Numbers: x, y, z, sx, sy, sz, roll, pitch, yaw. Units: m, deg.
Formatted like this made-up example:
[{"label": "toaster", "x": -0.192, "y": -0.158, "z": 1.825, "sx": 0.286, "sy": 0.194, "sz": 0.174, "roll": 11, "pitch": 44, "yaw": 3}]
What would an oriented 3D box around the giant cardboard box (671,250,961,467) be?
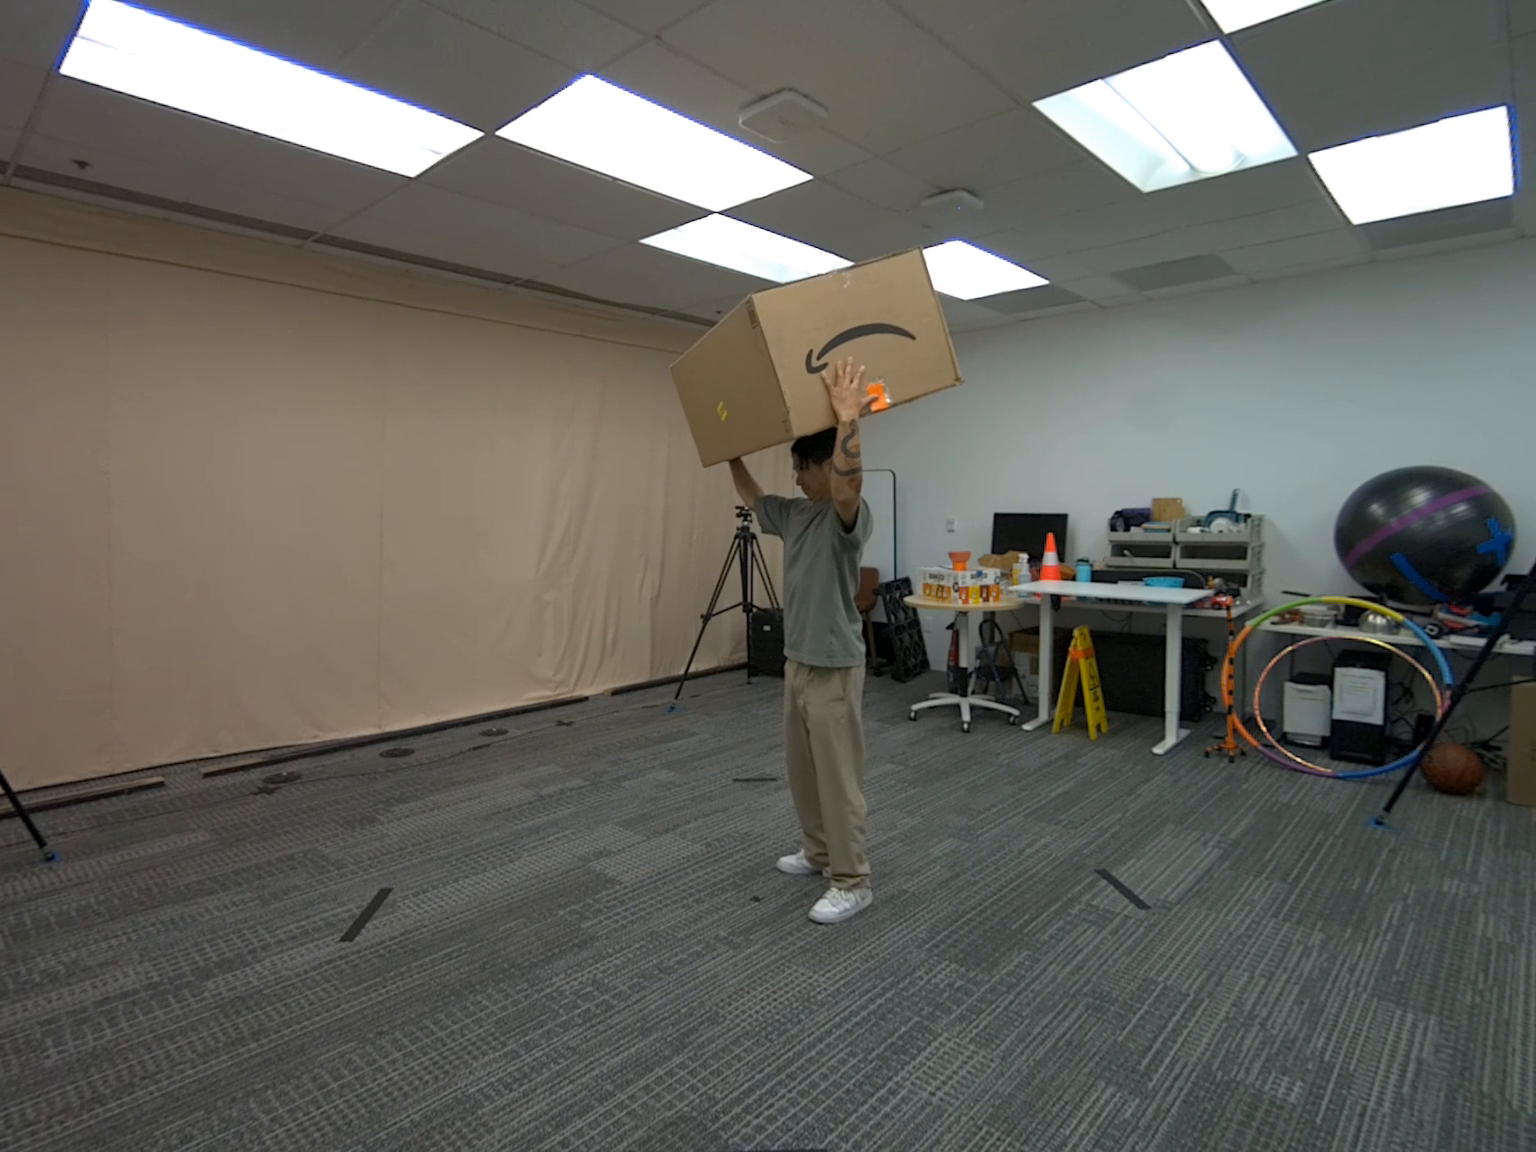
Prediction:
[{"label": "giant cardboard box", "x": 0.103, "y": -0.698, "z": 2.934, "sx": 0.570, "sy": 0.423, "sz": 1.045, "roll": -20, "pitch": 8, "yaw": -17}]
